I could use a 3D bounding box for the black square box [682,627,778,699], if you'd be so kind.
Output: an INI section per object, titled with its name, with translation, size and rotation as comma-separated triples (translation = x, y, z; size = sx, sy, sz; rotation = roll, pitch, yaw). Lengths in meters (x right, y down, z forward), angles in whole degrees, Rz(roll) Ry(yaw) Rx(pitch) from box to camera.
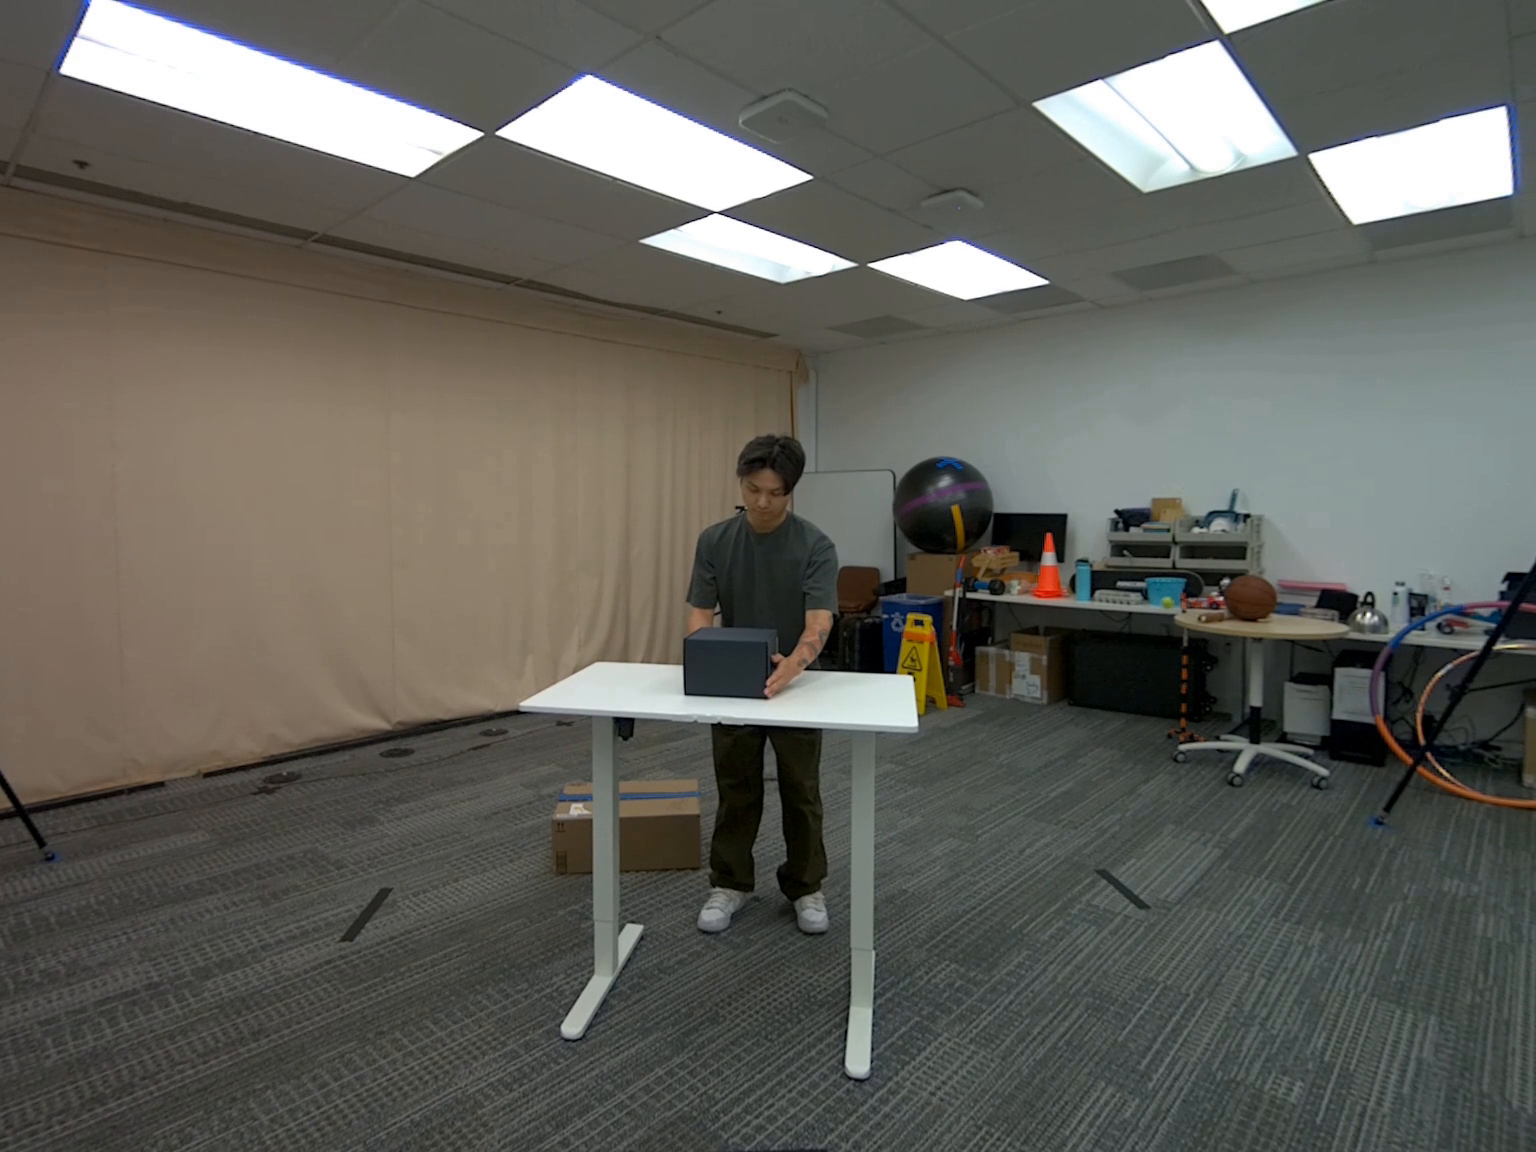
[black square box]
translation = -0.106, 0.237, 2.333
size = 0.231, 0.155, 0.215
rotation = 1, 4, 11
